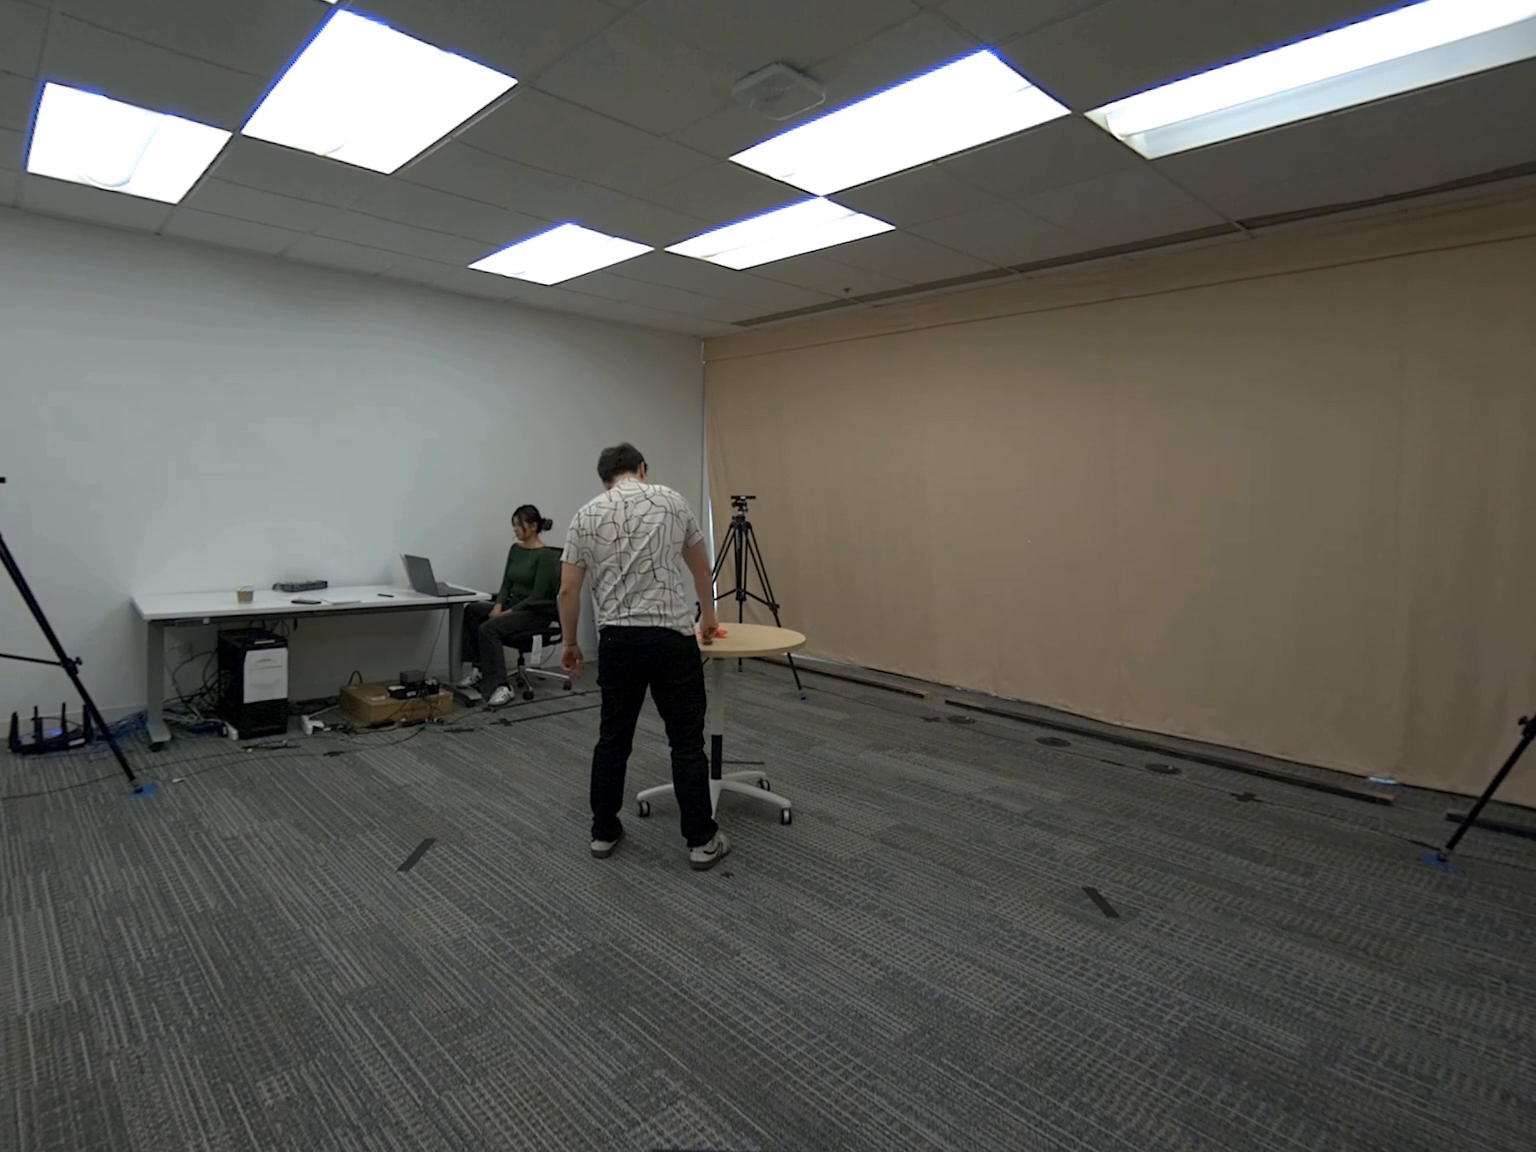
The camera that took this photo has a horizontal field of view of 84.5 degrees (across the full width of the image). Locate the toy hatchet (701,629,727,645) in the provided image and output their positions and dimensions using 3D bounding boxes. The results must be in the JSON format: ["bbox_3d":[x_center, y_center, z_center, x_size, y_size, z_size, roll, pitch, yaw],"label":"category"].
[{"bbox_3d":[-0.249,0.260,3.596,0.130,0.029,0.273,-4,7,-10],"label":"toy hatchet"}]
